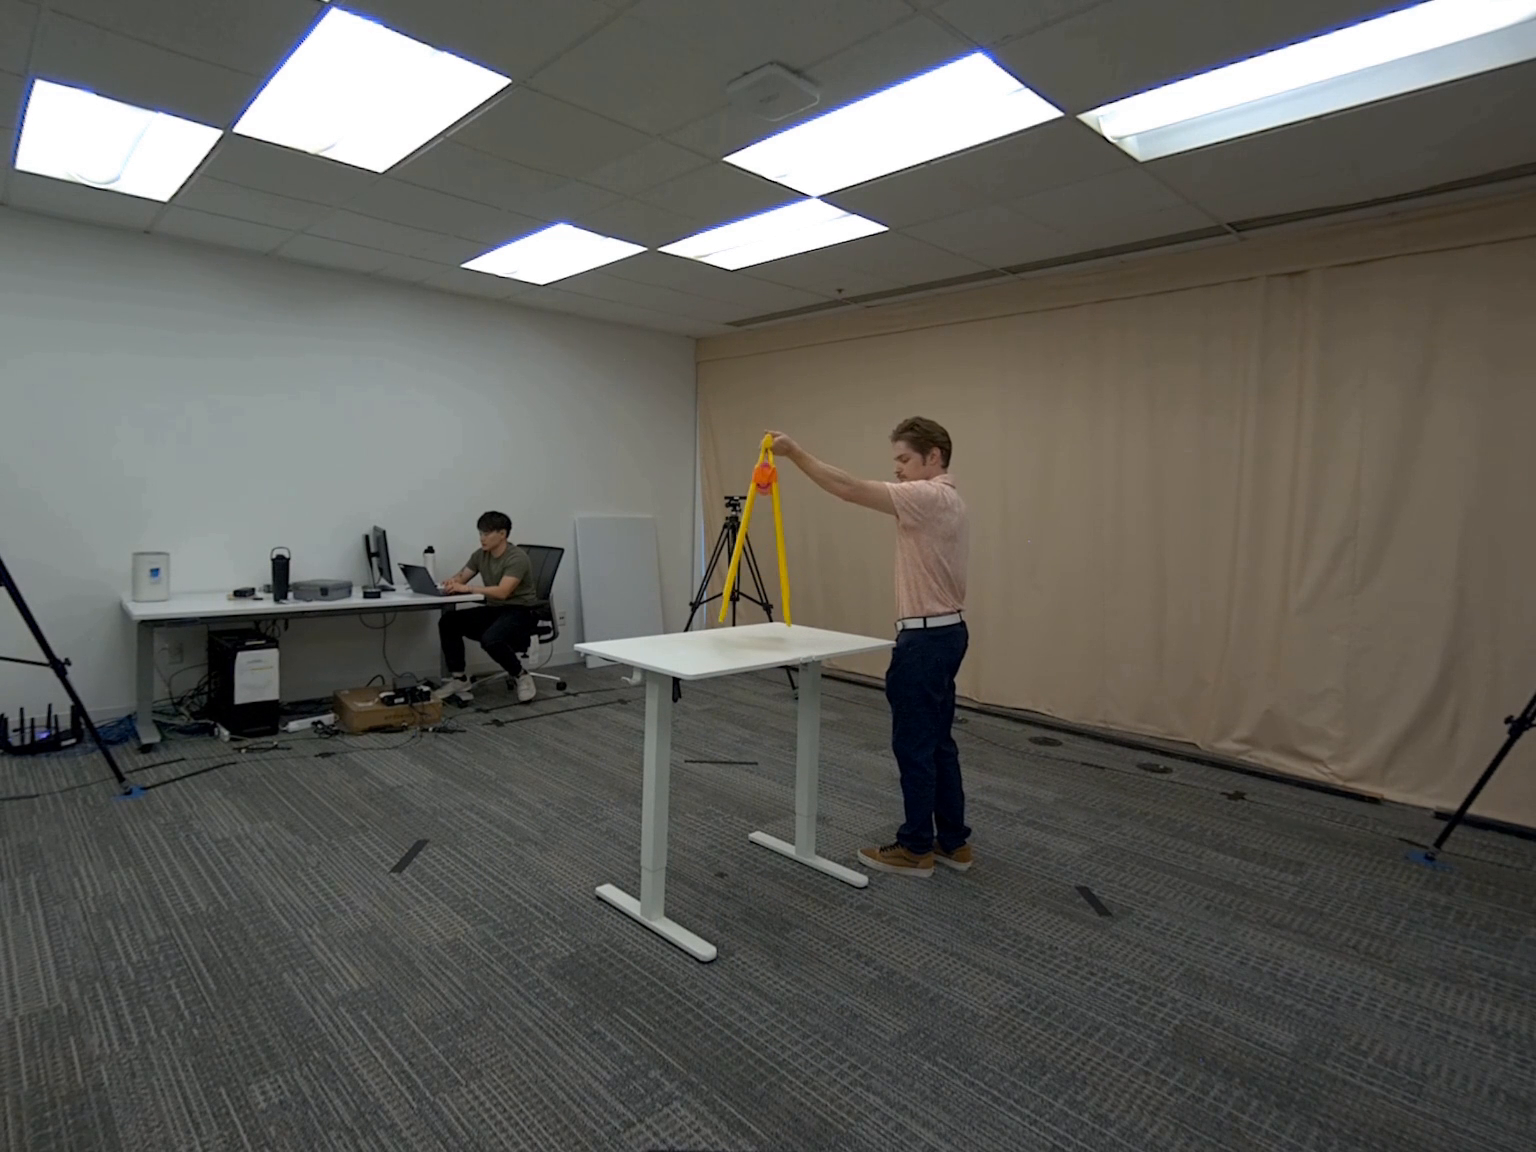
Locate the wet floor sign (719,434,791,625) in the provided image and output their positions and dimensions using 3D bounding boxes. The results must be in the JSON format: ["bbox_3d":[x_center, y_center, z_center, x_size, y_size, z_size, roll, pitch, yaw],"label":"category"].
[{"bbox_3d":[-0.029,-0.167,2.968,0.291,0.646,0.281,4,1,3],"label":"wet floor sign"}]
